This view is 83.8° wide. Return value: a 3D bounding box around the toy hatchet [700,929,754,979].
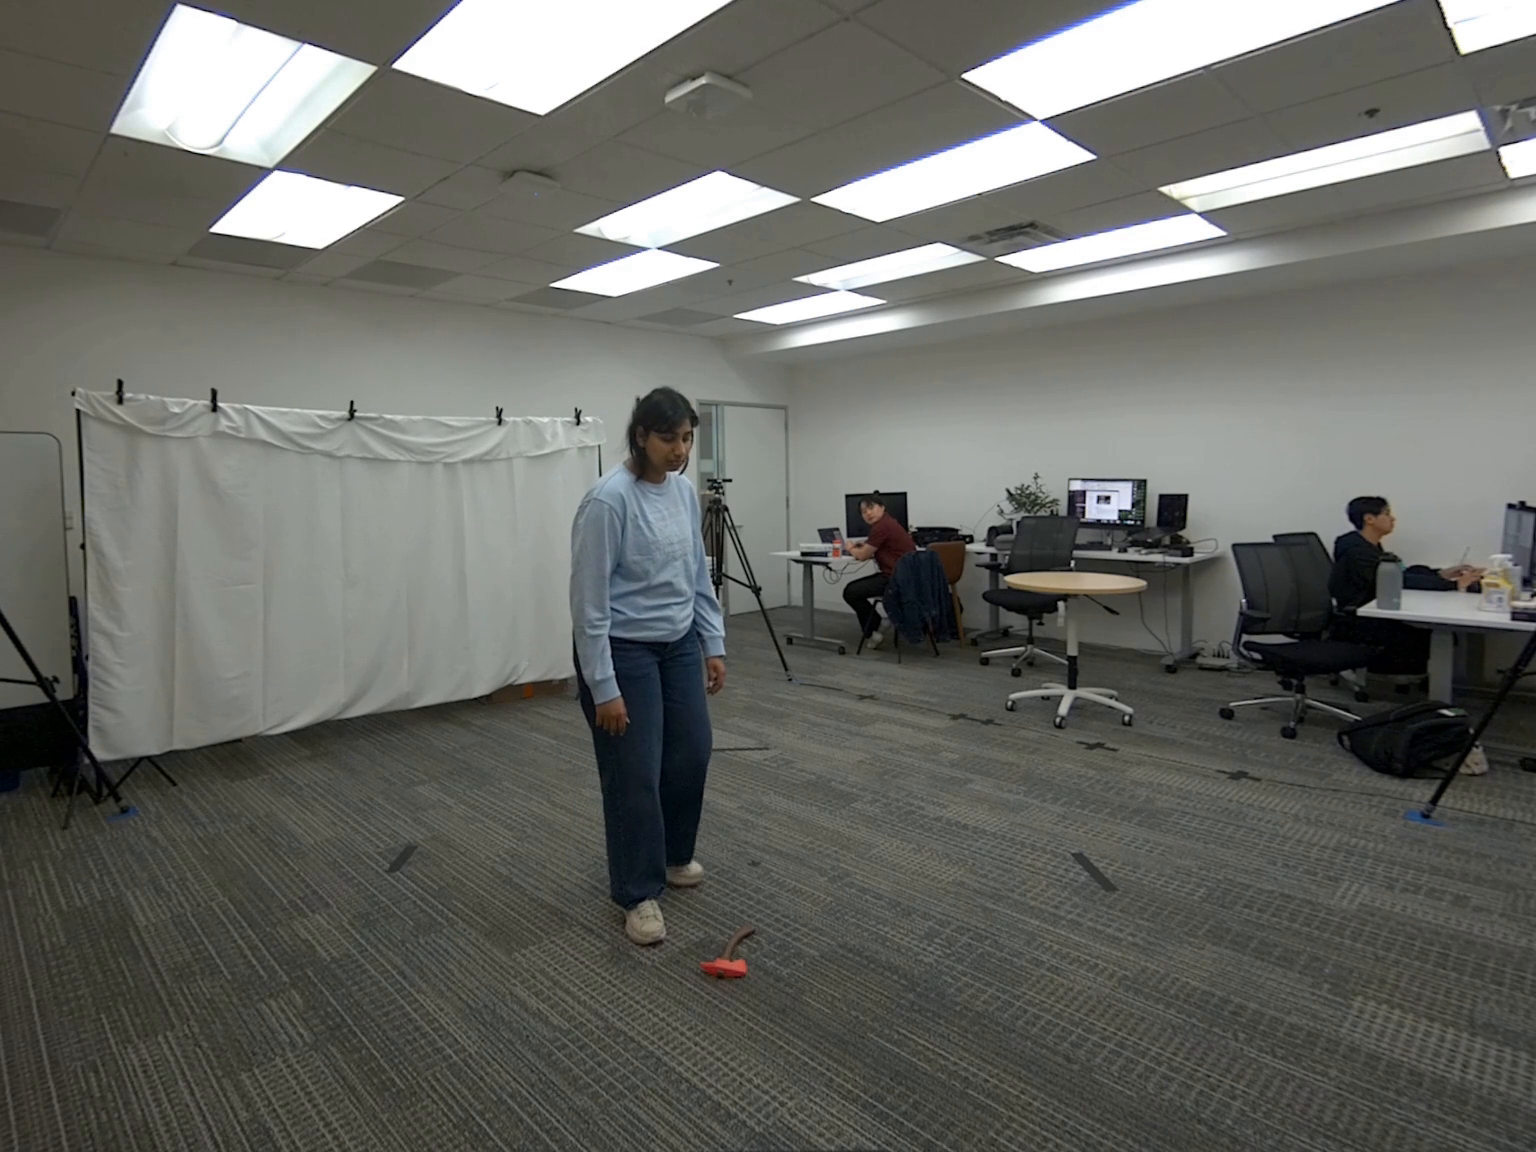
[{"bbox_3d":[-0.078,1.098,2.512,0.134,0.029,0.264,2,6,31],"label":"toy hatchet"}]
